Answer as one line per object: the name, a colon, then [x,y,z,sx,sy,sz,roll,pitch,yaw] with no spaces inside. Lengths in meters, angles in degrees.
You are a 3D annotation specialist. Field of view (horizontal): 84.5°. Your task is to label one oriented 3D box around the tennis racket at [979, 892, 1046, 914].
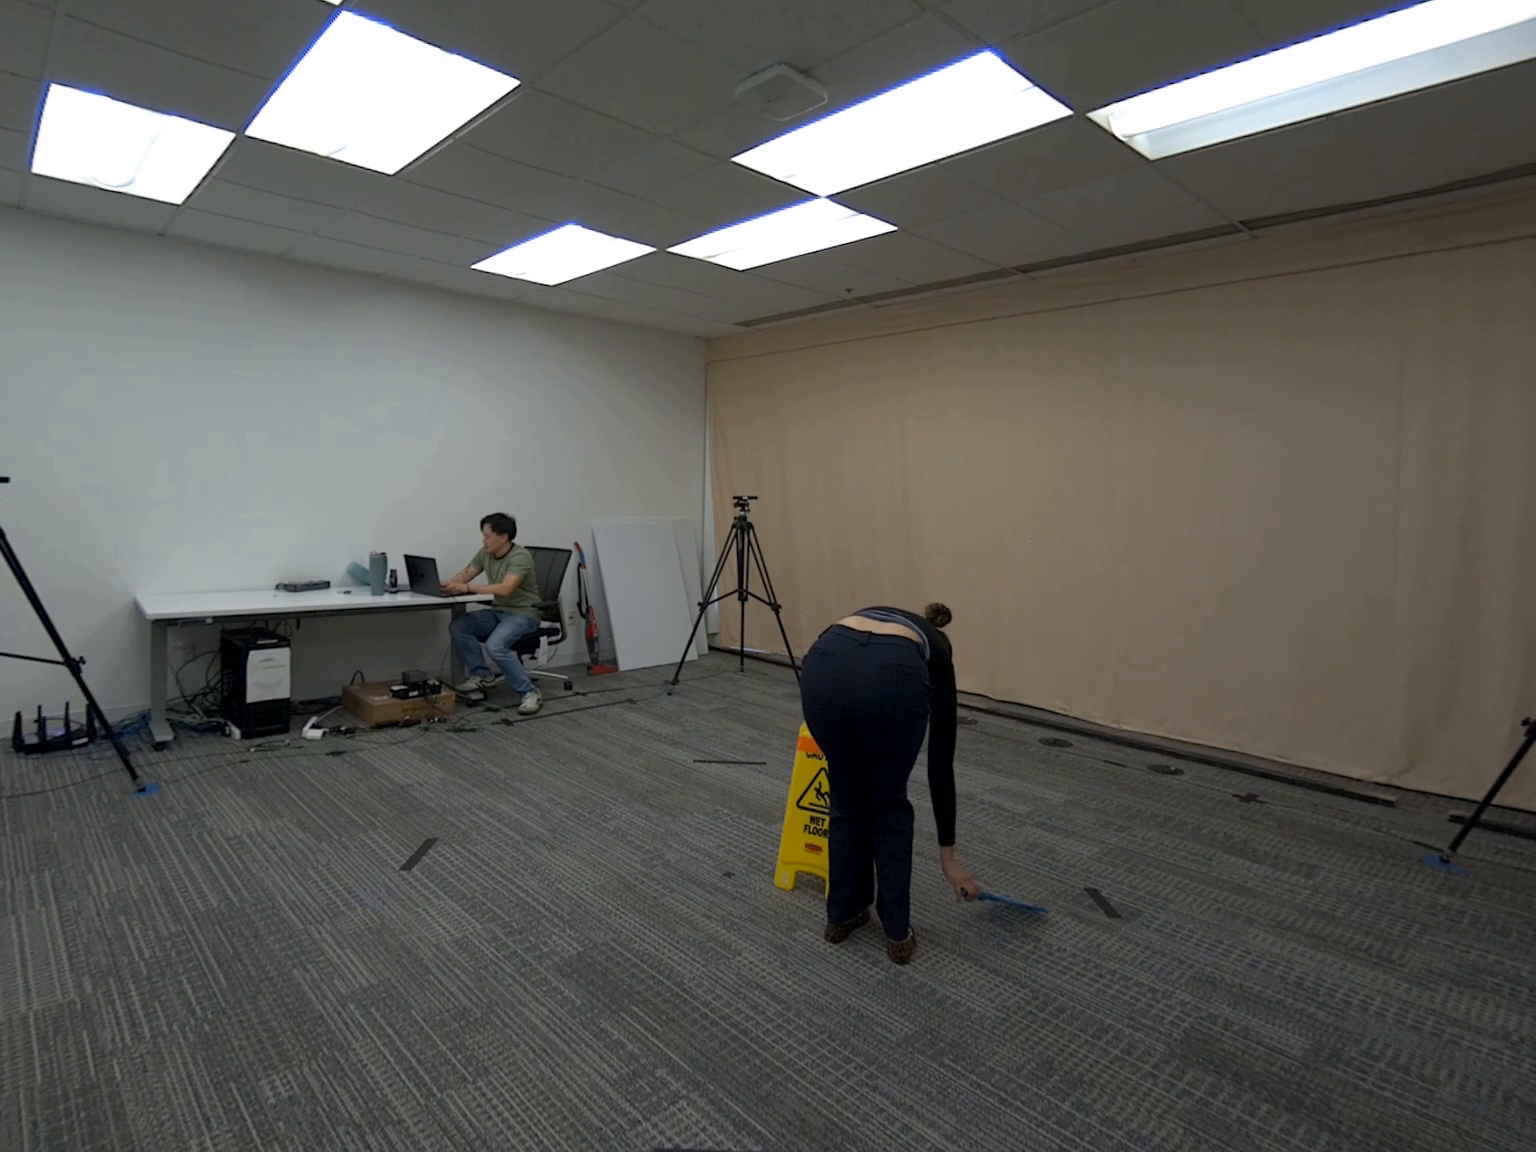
tennis racket: [0.750,1.070,2.776,0.420,0.032,0.218,25,-20,-37]
